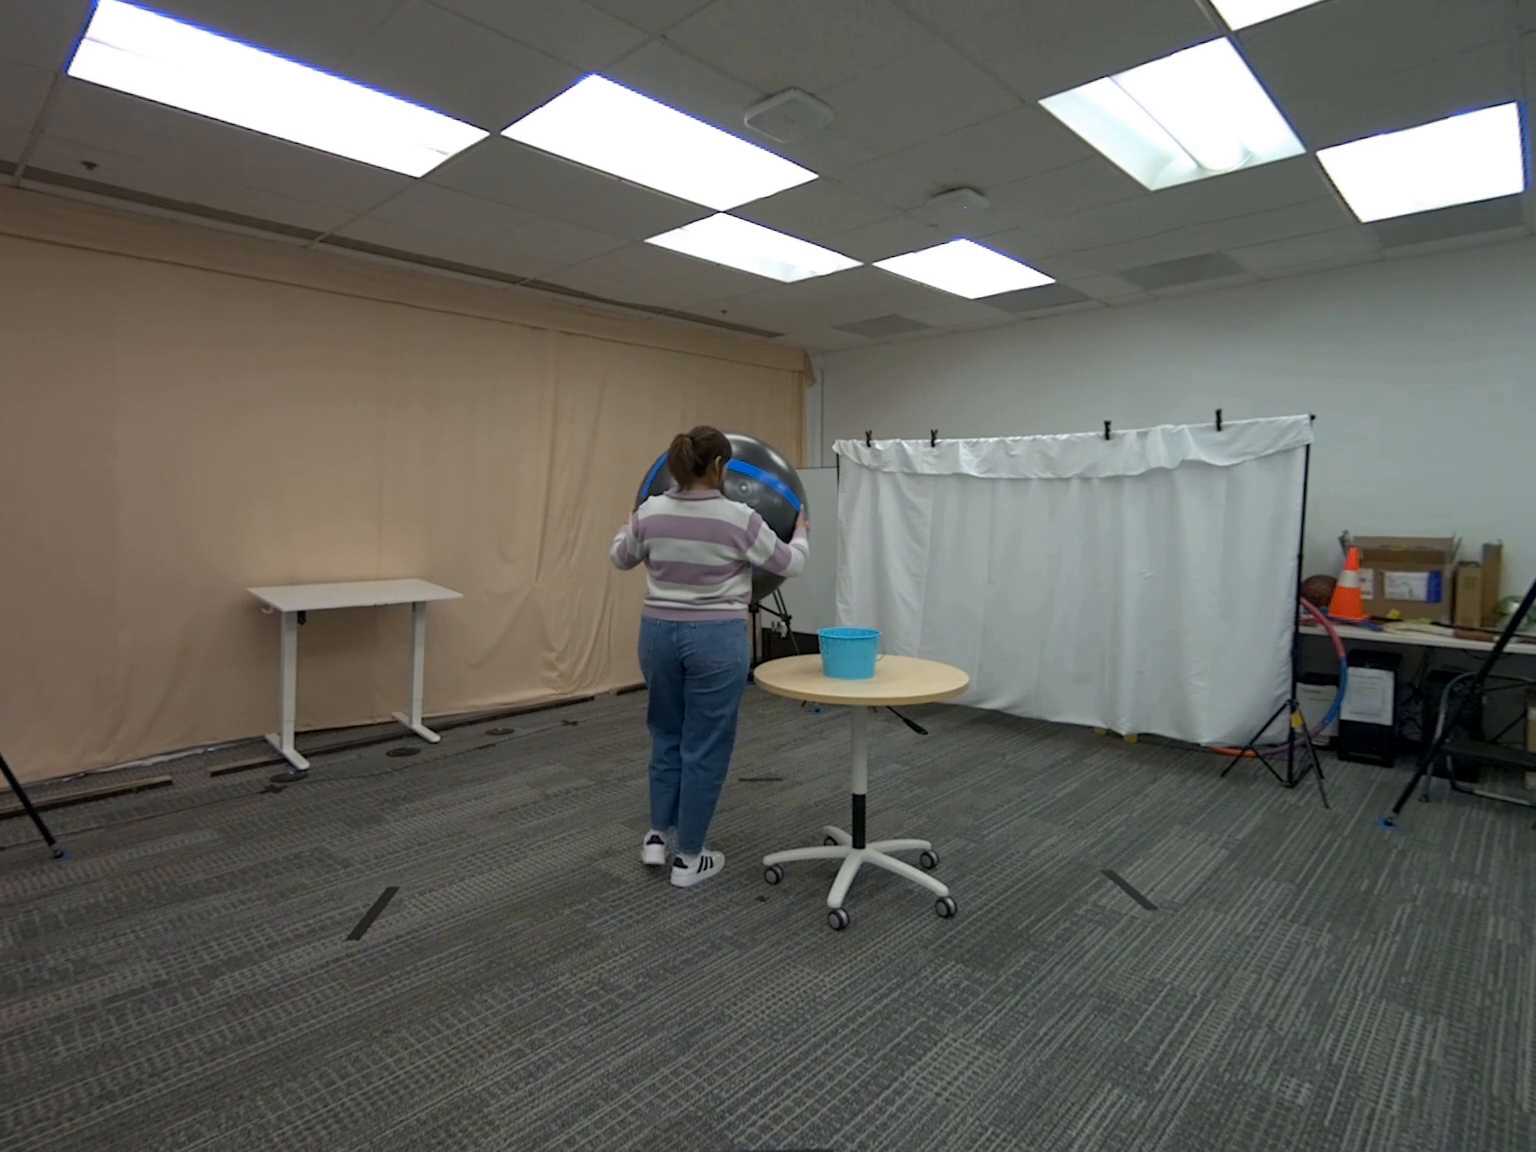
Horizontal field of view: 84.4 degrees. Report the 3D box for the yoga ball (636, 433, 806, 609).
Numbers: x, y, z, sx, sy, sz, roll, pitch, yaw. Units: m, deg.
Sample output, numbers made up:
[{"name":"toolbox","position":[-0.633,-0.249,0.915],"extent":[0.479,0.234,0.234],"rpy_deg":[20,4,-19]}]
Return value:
[{"name":"yoga ball","position":[-0.197,-0.232,3.637],"extent":[0.757,0.756,0.760],"rpy_deg":[0,4,-2]}]
